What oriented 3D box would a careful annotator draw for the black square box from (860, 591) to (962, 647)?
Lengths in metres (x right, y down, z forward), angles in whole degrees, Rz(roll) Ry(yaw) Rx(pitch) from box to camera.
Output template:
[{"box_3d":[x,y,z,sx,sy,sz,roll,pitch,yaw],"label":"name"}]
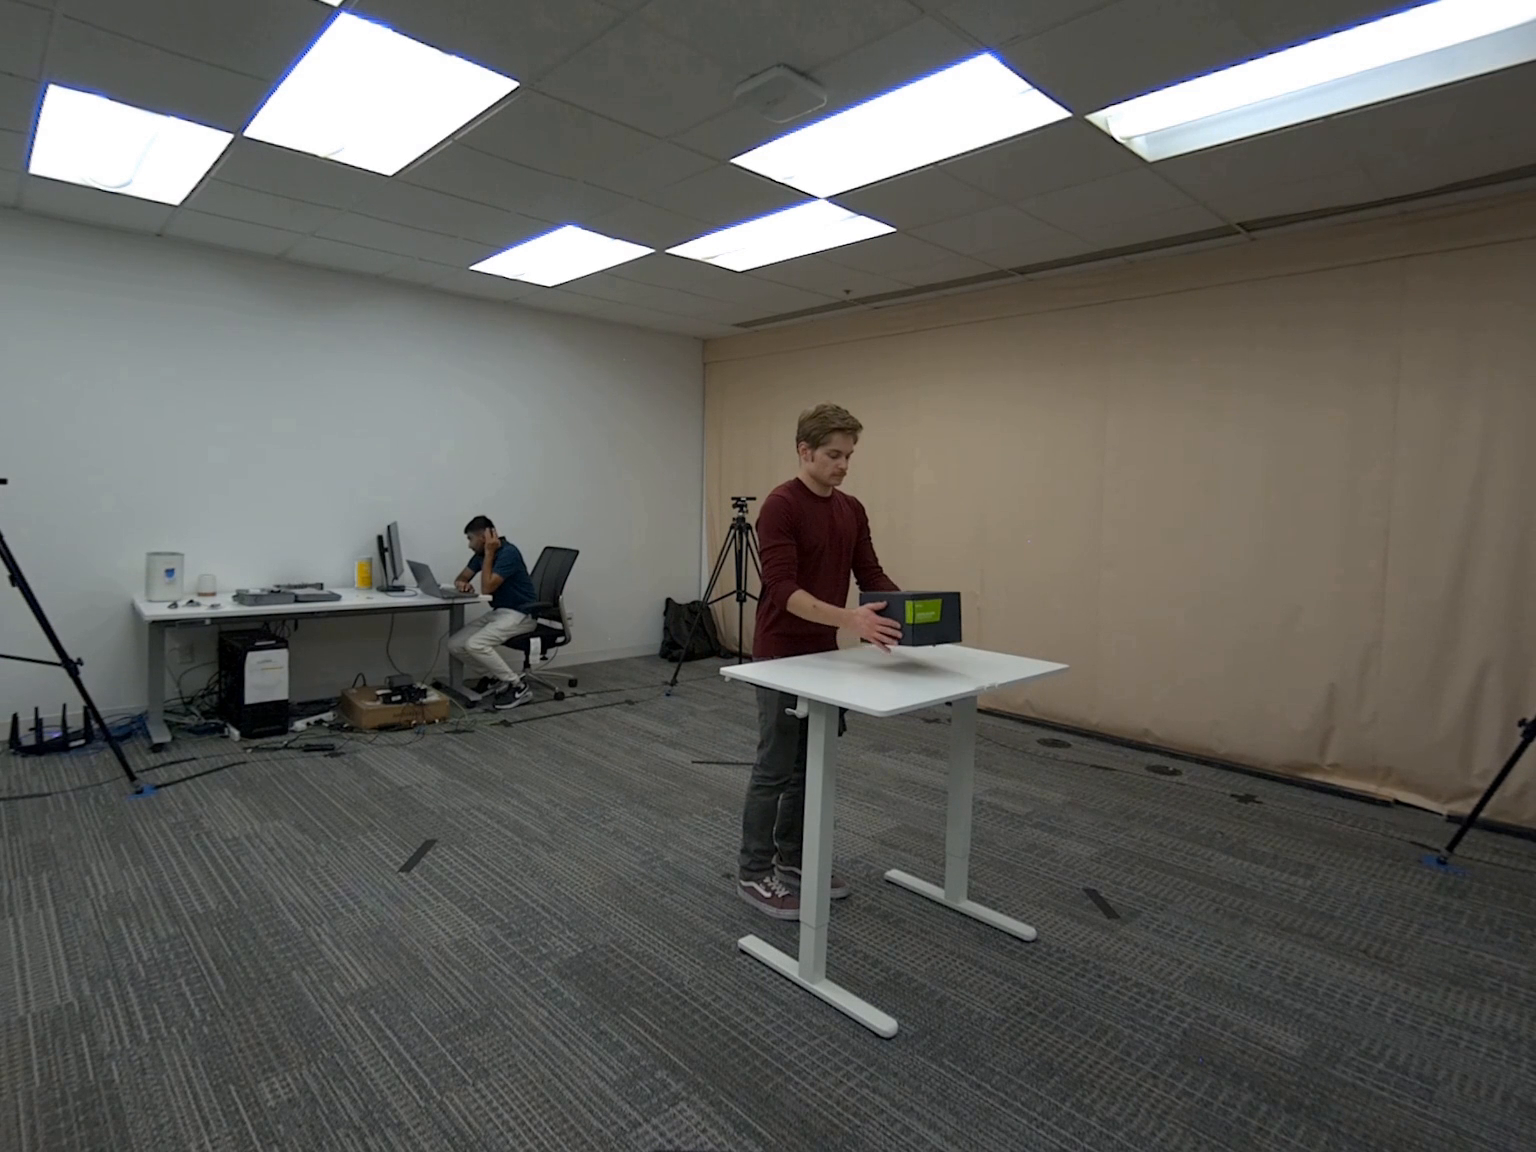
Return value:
[{"box_3d":[0.430,0.128,2.584,0.223,0.156,0.222,-1,1,-38],"label":"black square box"}]
